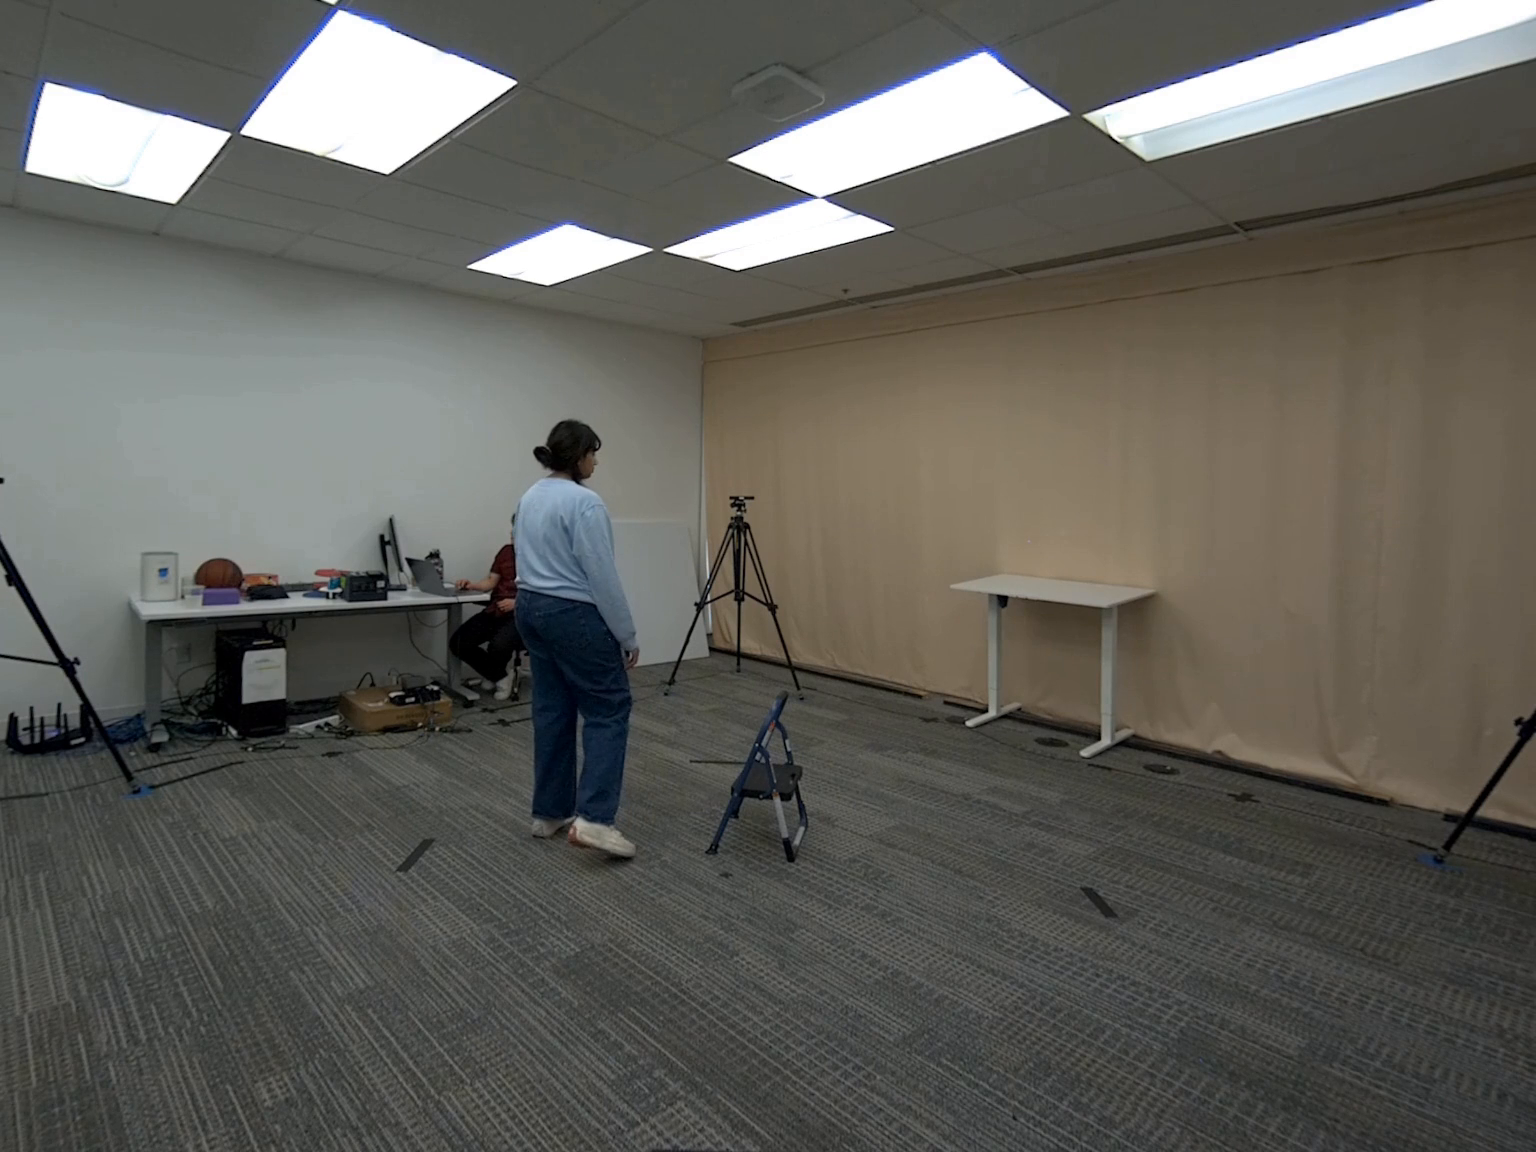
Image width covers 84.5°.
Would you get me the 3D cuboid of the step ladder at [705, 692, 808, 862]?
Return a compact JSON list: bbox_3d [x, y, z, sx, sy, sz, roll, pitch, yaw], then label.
[{"bbox_3d":[-0.033,0.778,3.445,0.353,0.605,0.427,1,3,11],"label":"step ladder"}]
